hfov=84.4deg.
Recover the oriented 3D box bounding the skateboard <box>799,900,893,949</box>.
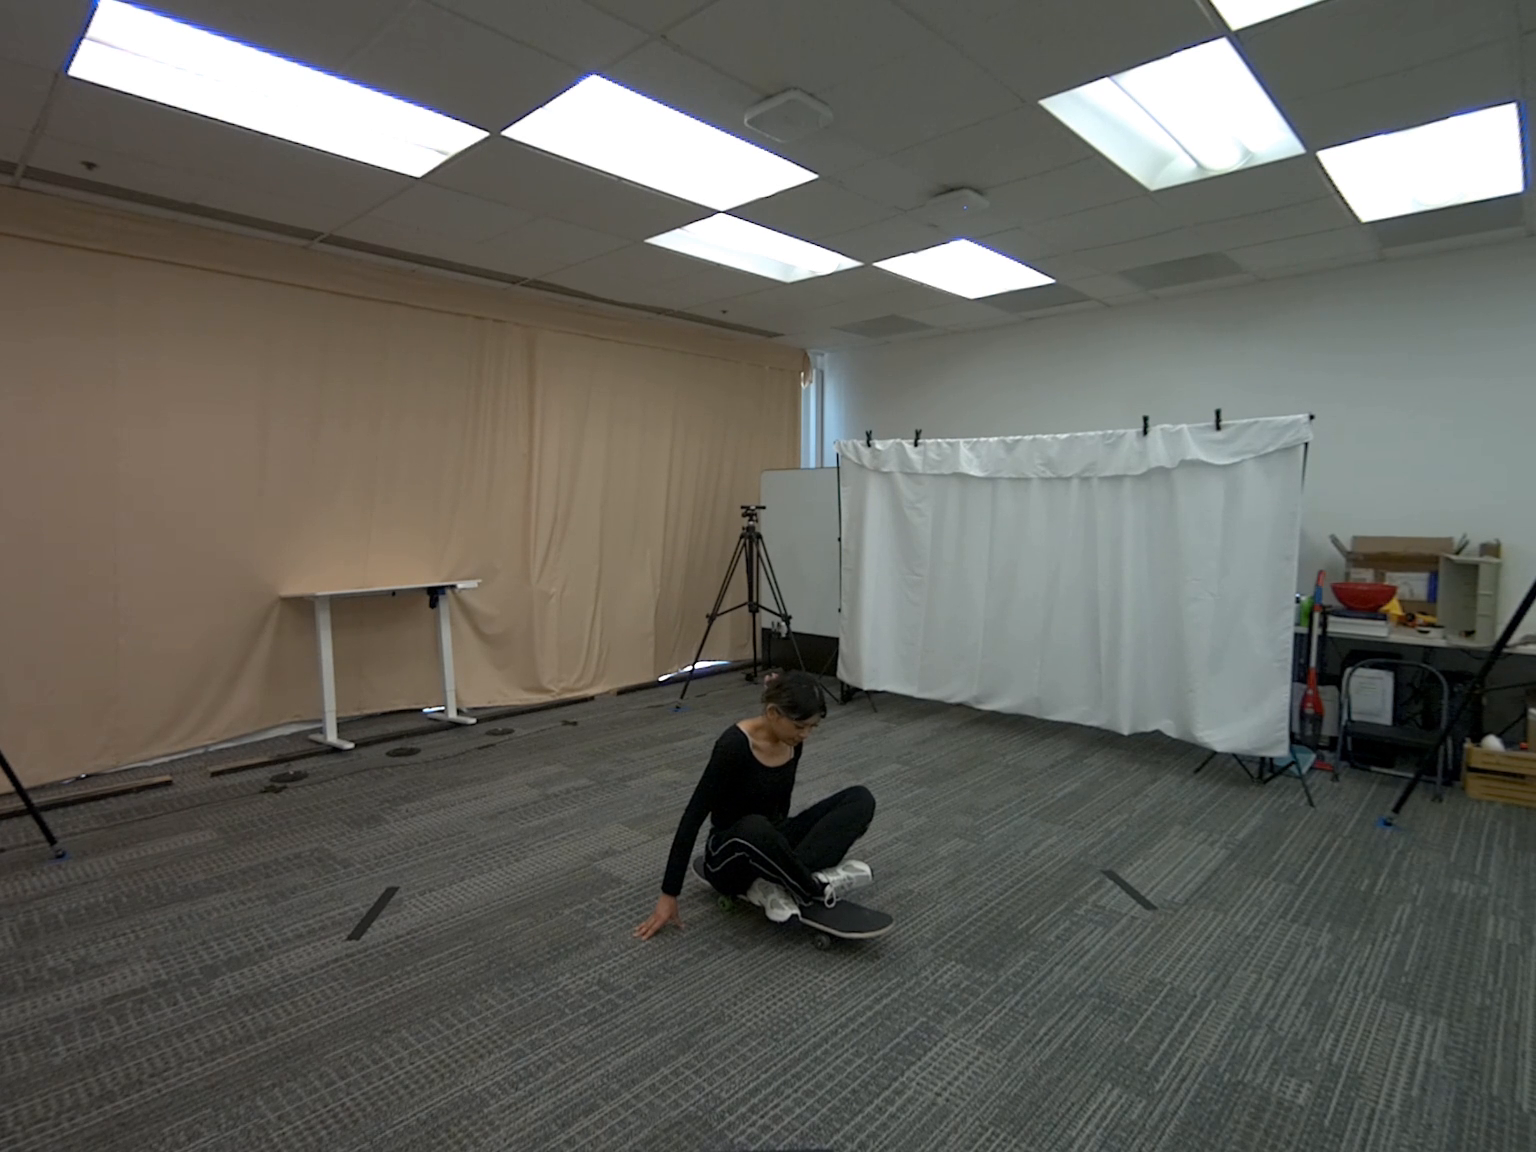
[{"bbox_3d":[0.074,1.097,2.828,0.810,0.110,0.188,1,5,36],"label":"skateboard"}]
